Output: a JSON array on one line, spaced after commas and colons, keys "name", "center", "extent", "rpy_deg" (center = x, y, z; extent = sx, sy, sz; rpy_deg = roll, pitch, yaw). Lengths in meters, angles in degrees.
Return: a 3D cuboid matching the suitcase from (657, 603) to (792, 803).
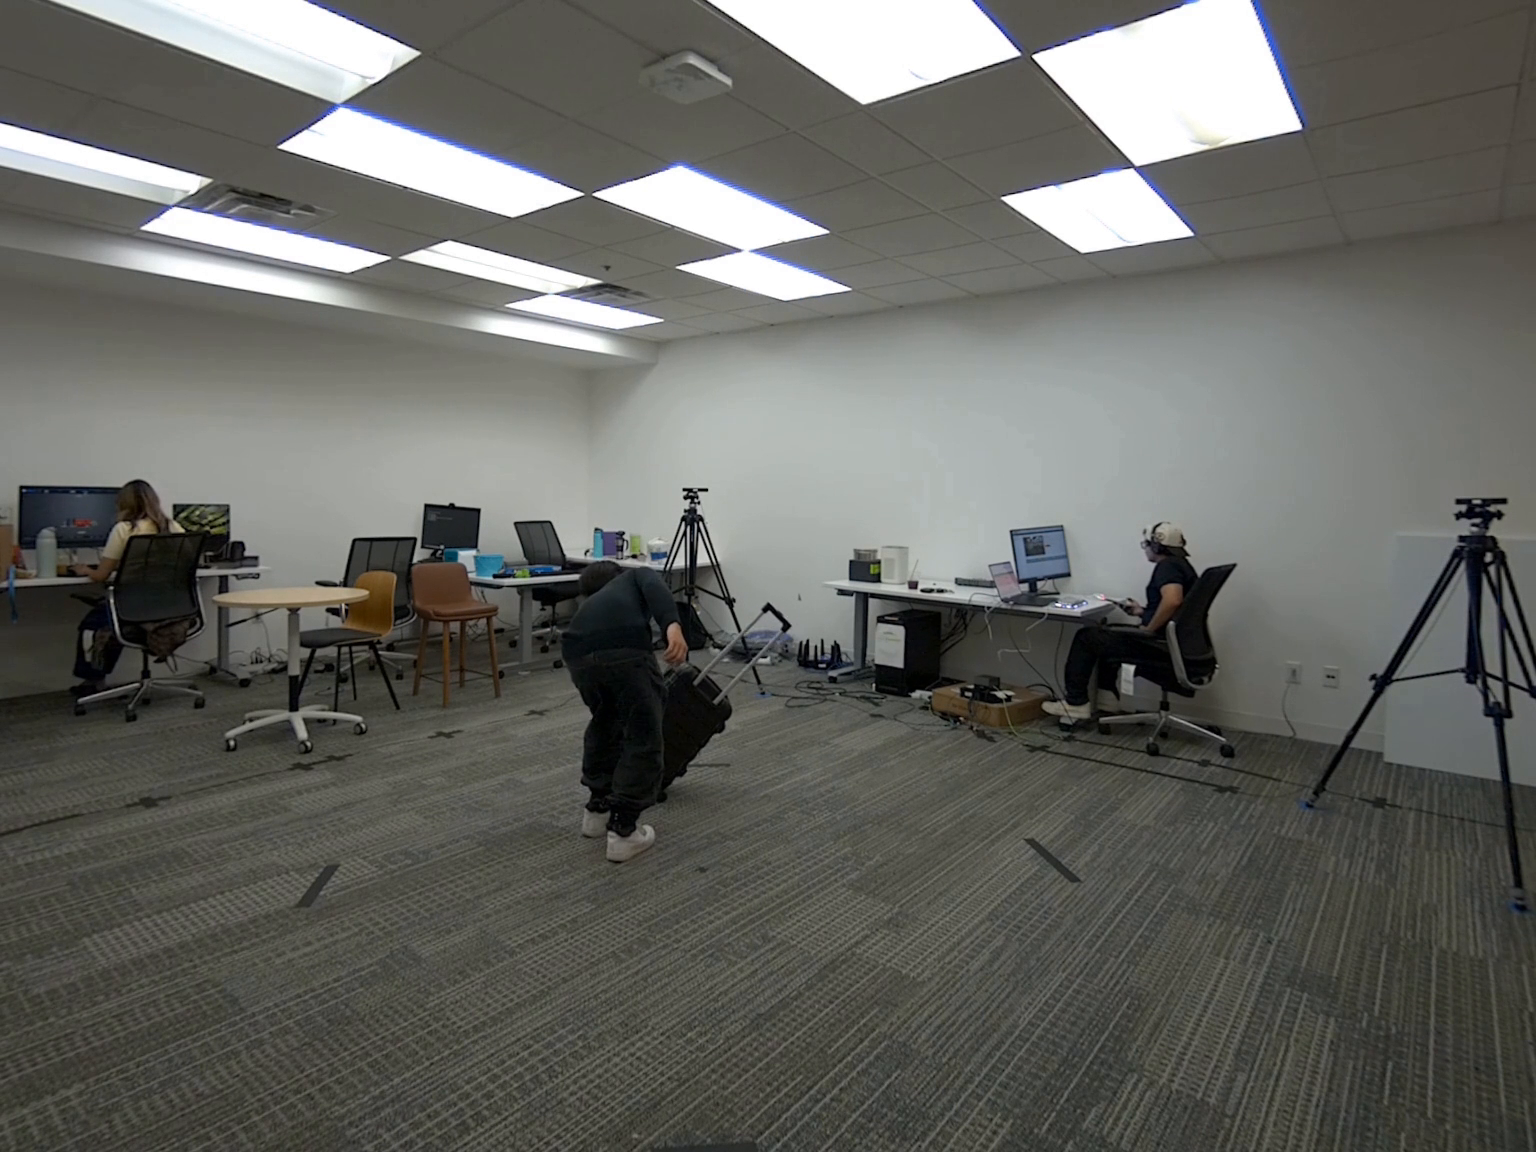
[{"name": "suitcase", "center": [-0.327, 0.513, 3.918], "extent": [0.379, 0.978, 0.261], "rpy_deg": [43, -9, -10]}]
